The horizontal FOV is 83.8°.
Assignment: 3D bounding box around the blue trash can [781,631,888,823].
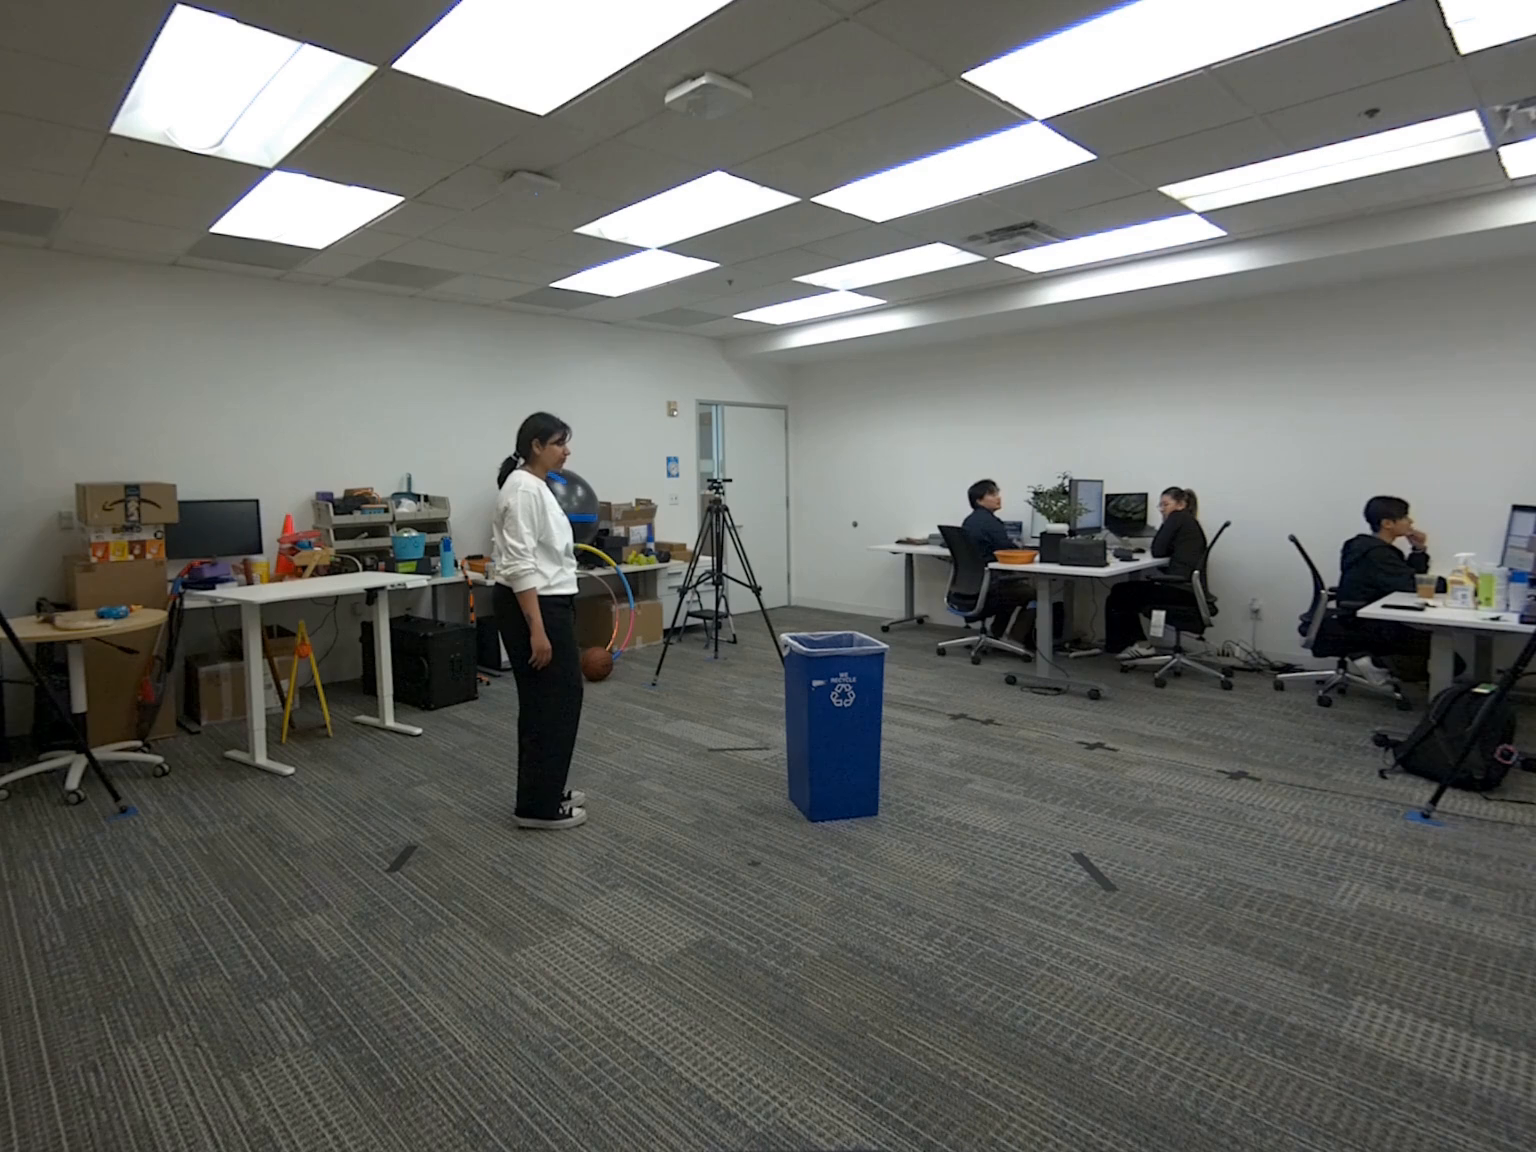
[{"bbox_3d":[0.274,0.621,3.616,0.369,0.711,0.384,-1,4,-15],"label":"blue trash can"}]
